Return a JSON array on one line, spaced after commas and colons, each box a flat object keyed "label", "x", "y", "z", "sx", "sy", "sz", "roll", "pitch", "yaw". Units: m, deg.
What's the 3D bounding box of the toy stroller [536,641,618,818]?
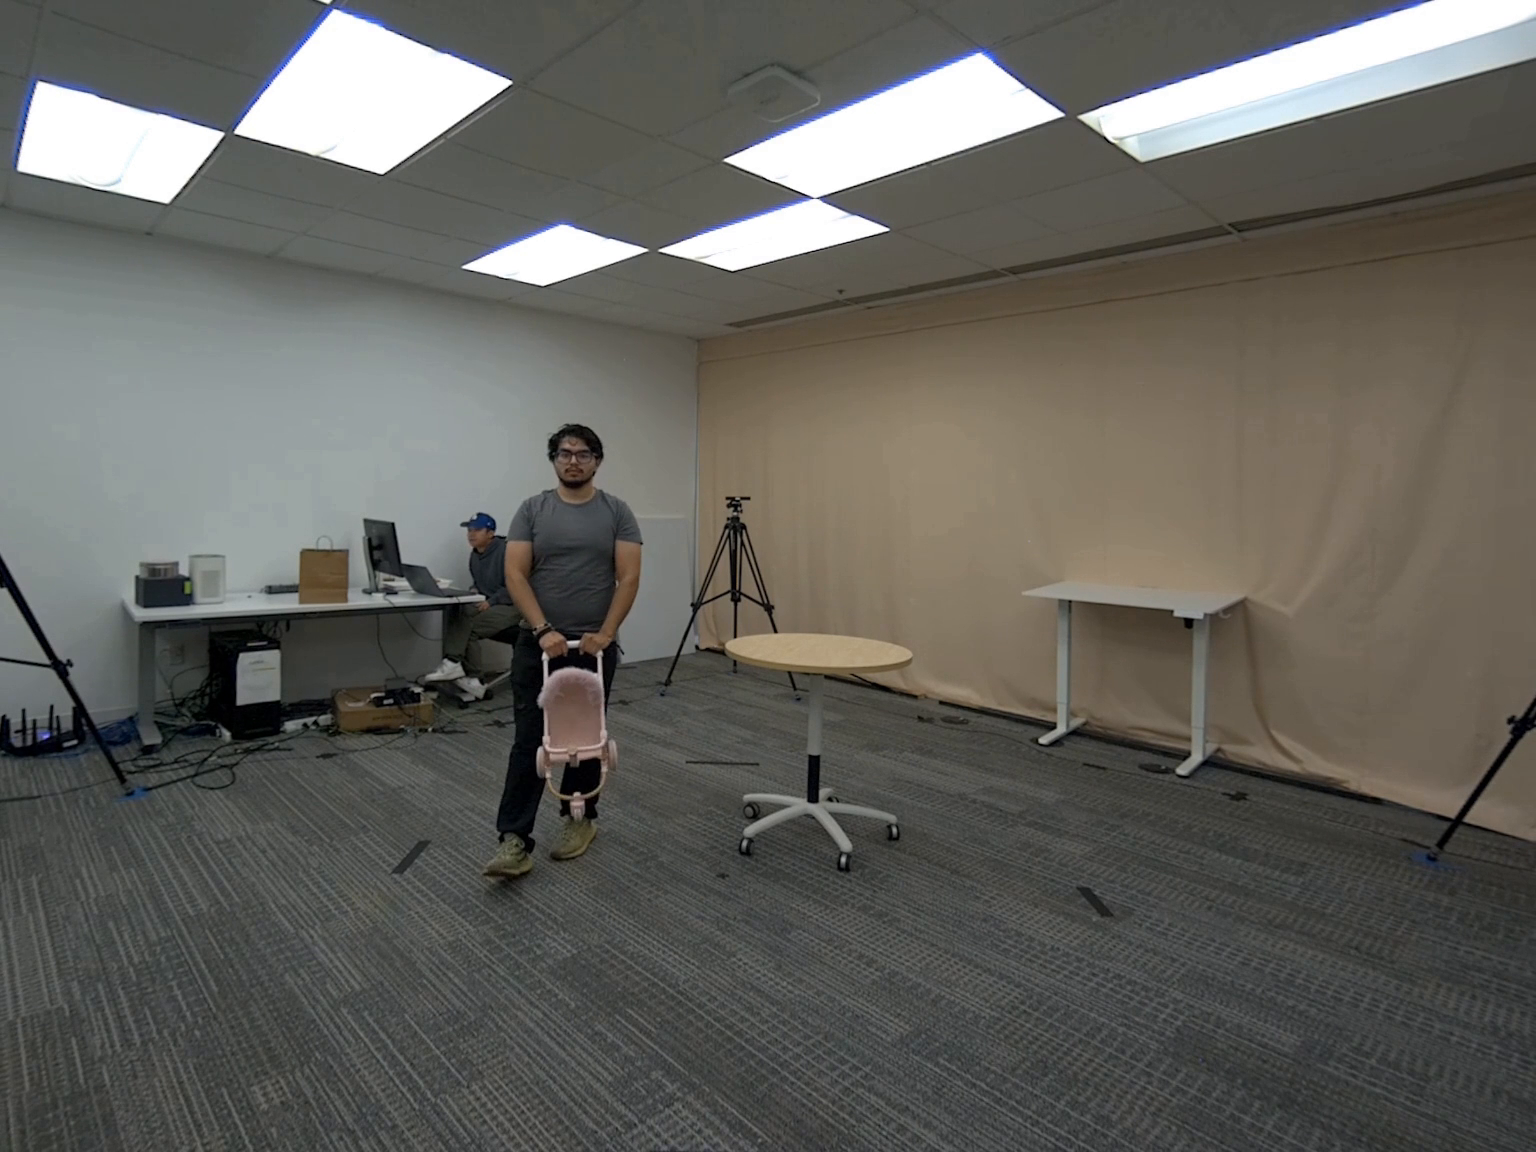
[{"label": "toy stroller", "x": -0.676, "y": 0.531, "z": 2.876, "sx": 0.280, "sy": 0.531, "sz": 0.346, "roll": -1, "pitch": 11, "yaw": -8}]
